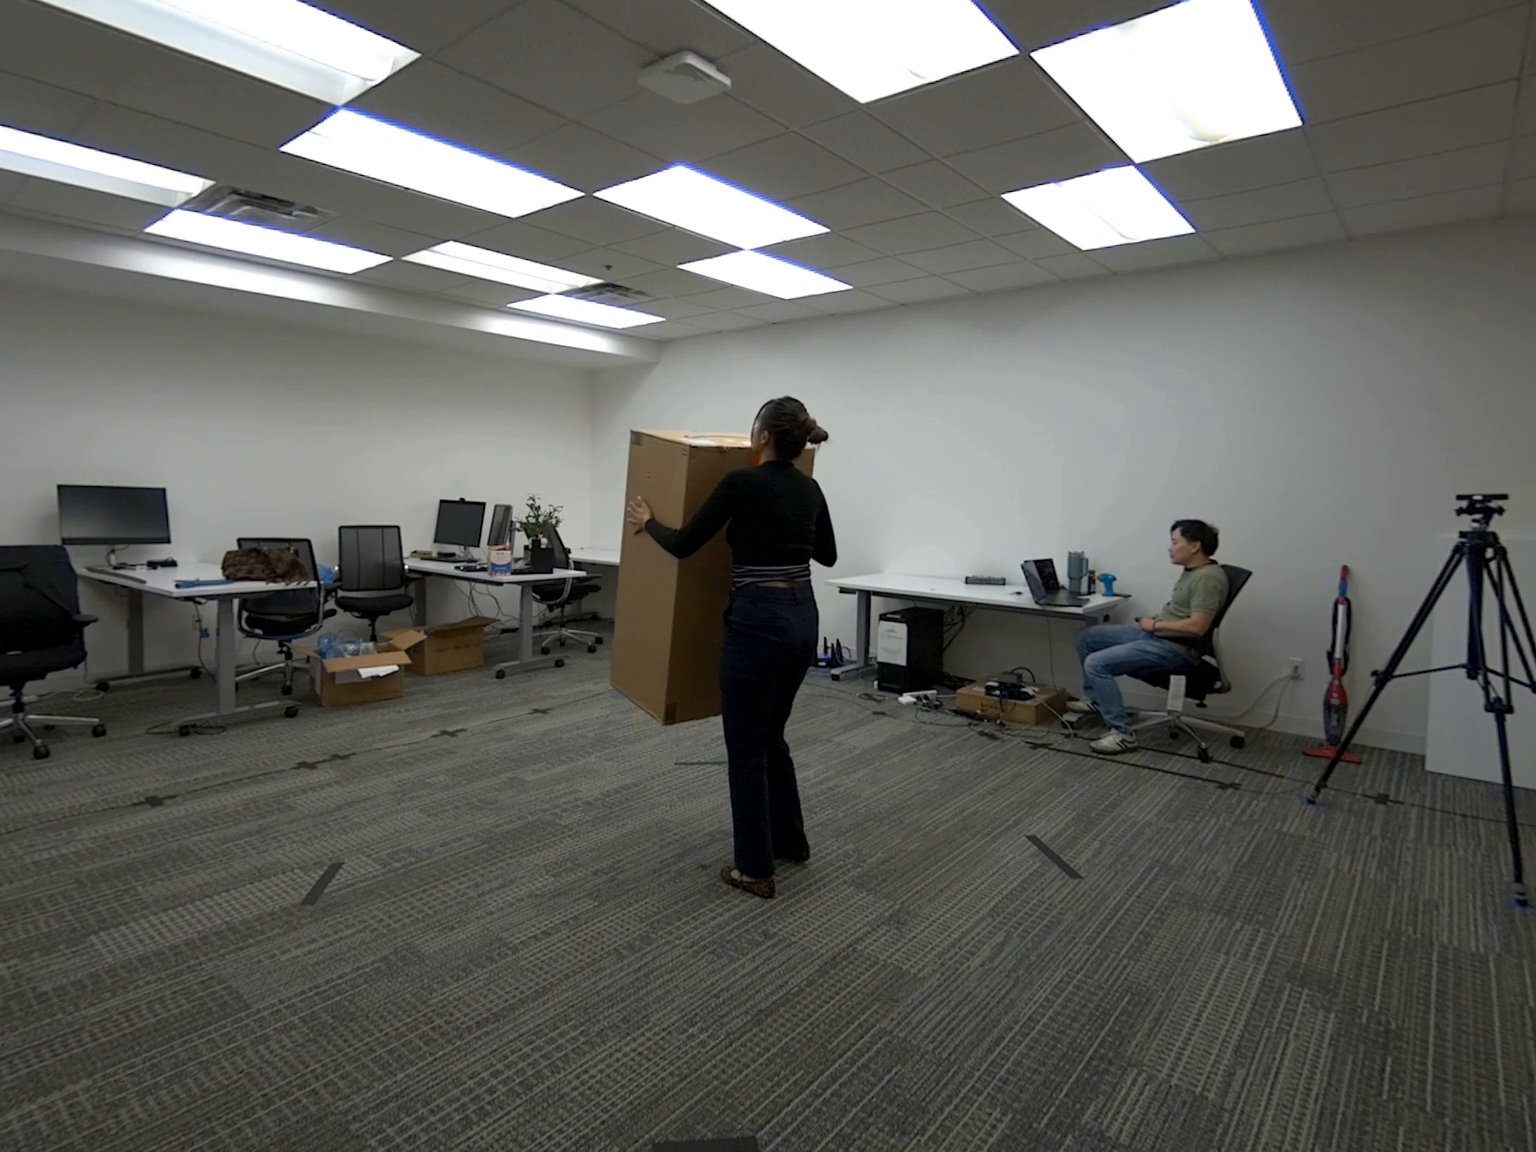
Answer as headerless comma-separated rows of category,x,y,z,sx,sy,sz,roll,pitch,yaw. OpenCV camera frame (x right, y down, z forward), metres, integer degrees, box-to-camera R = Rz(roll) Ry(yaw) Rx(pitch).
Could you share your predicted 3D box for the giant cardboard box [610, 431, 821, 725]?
giant cardboard box,-0.236,-0.024,3.296,0.561,1.016,0.443,-3,15,-37
